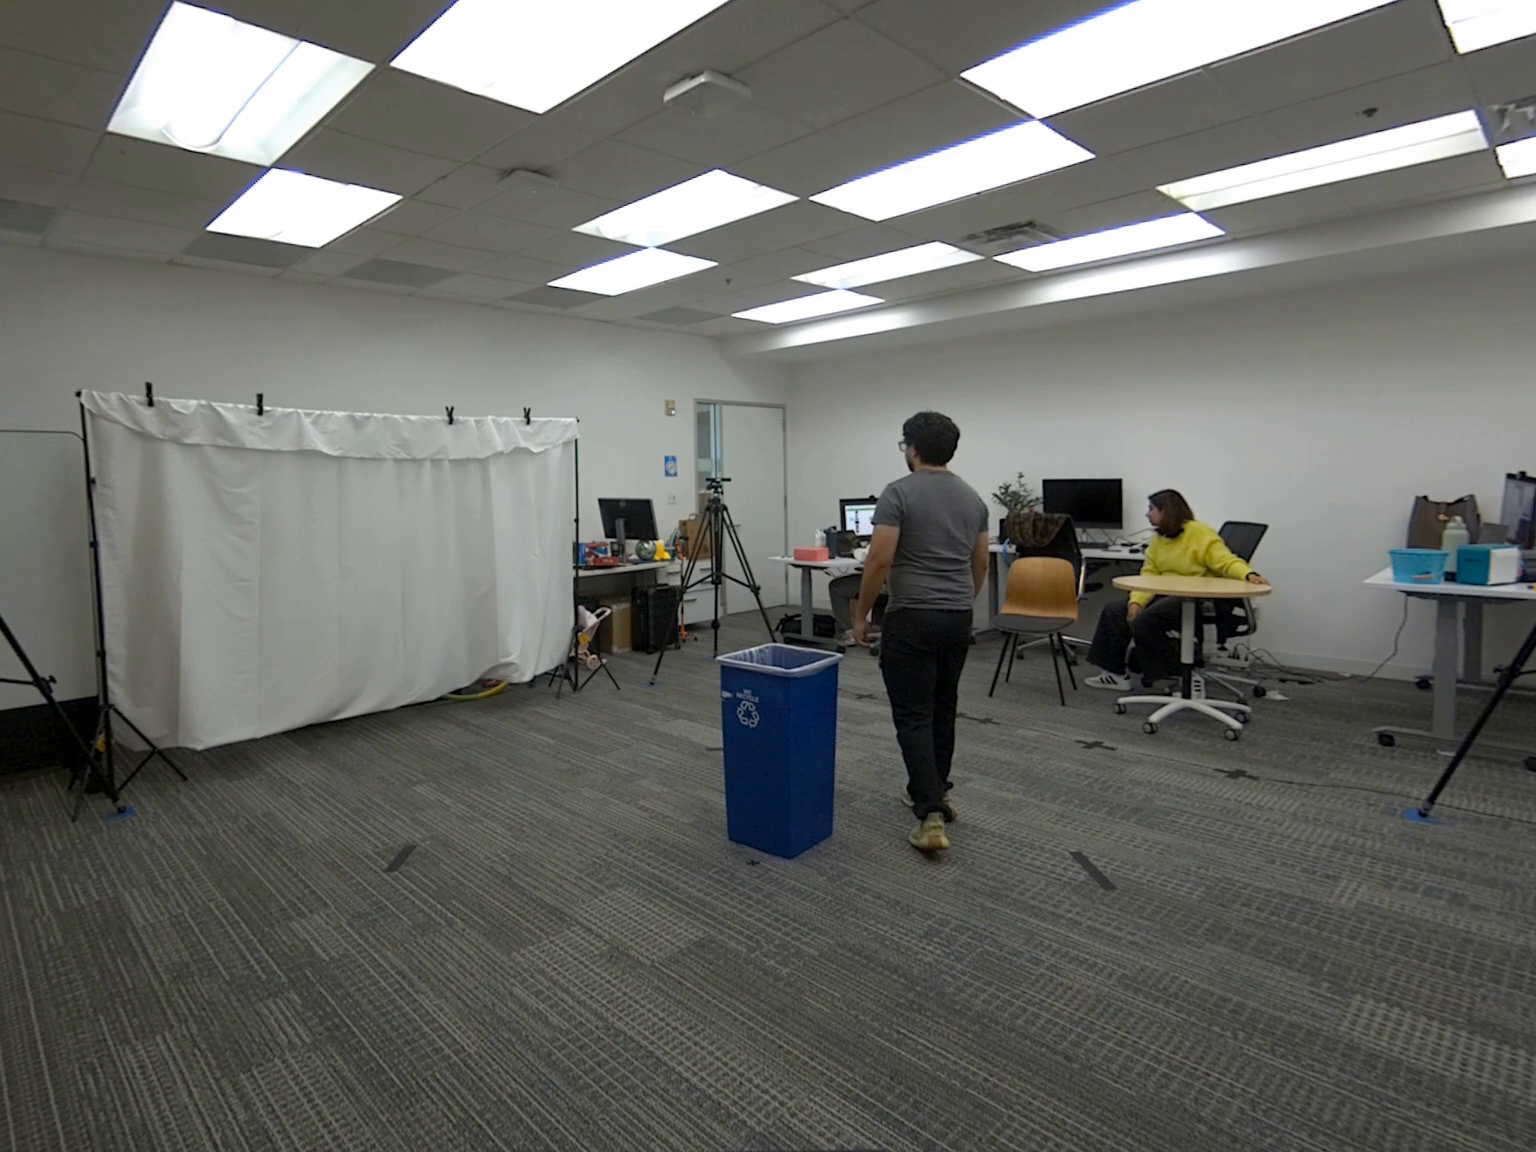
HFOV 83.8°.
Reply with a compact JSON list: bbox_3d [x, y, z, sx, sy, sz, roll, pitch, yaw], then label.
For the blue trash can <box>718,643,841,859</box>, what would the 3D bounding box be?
[{"bbox_3d":[0.054,0.660,3.300,0.385,0.711,0.368,3,5,39],"label":"blue trash can"}]
